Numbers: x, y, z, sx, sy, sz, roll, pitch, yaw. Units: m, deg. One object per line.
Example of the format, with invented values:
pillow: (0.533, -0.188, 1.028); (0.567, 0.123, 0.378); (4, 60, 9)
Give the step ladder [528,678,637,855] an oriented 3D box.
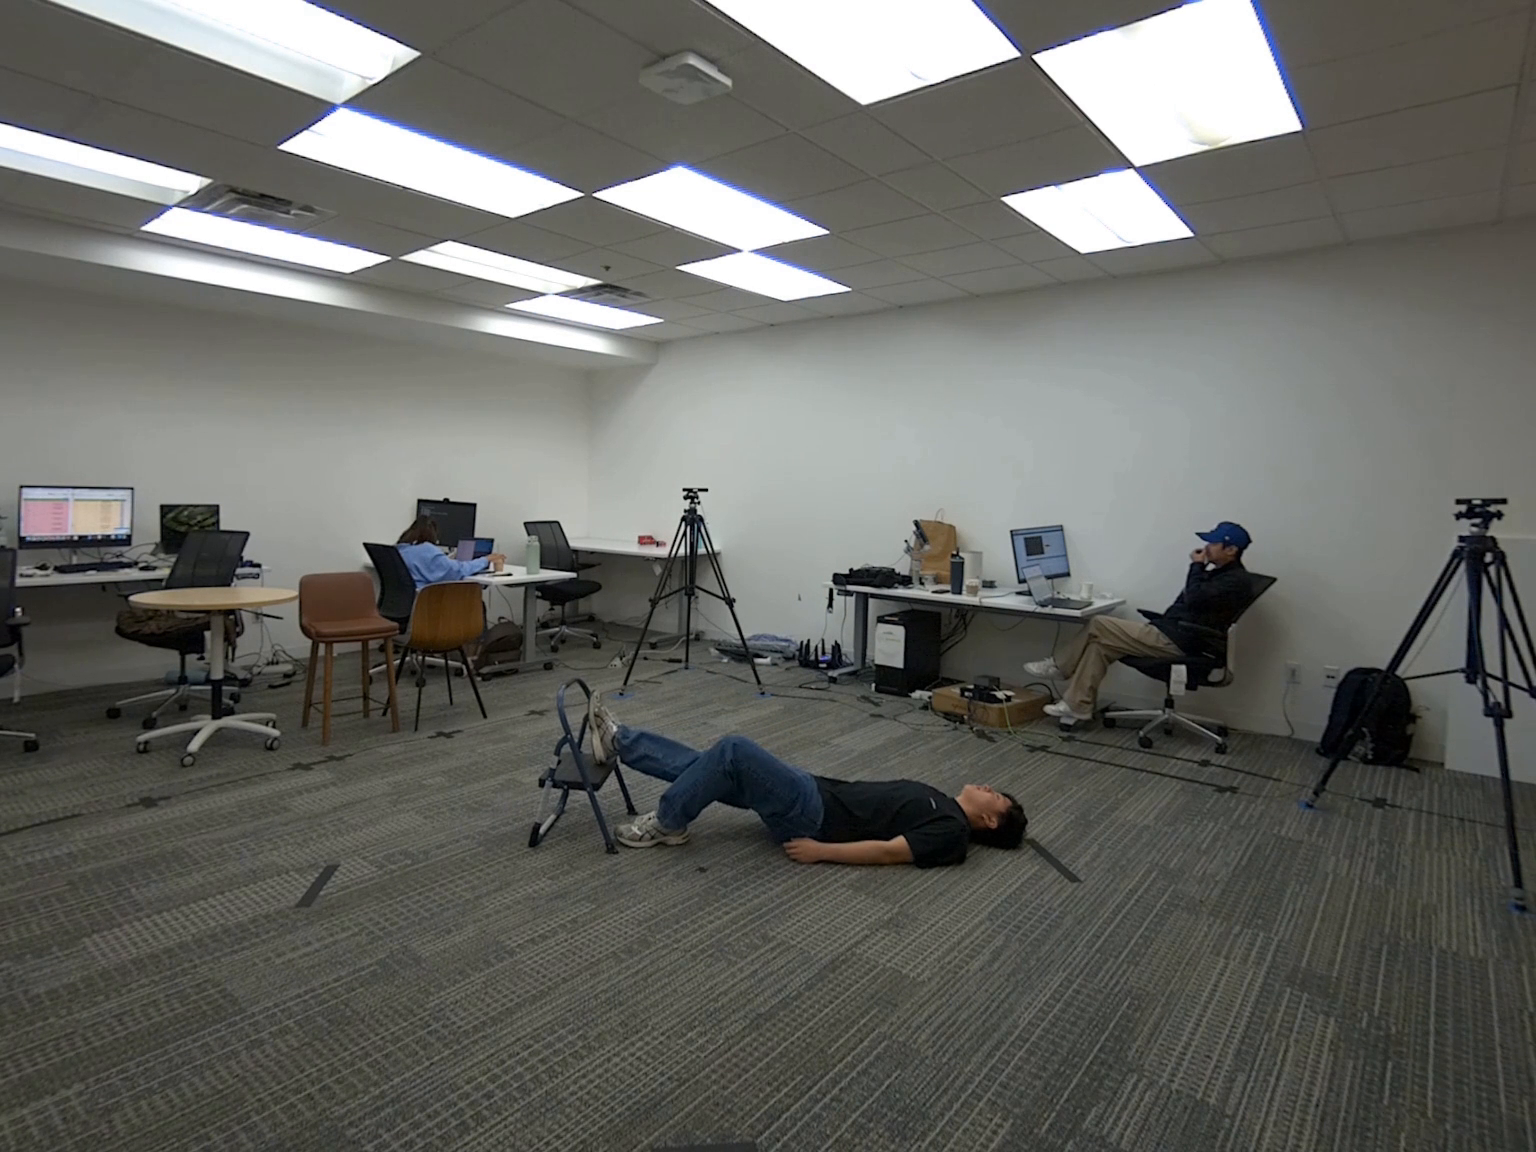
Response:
step ladder: (-0.750, 0.728, 3.438); (0.350, 0.605, 0.430); (1, 3, 2)
